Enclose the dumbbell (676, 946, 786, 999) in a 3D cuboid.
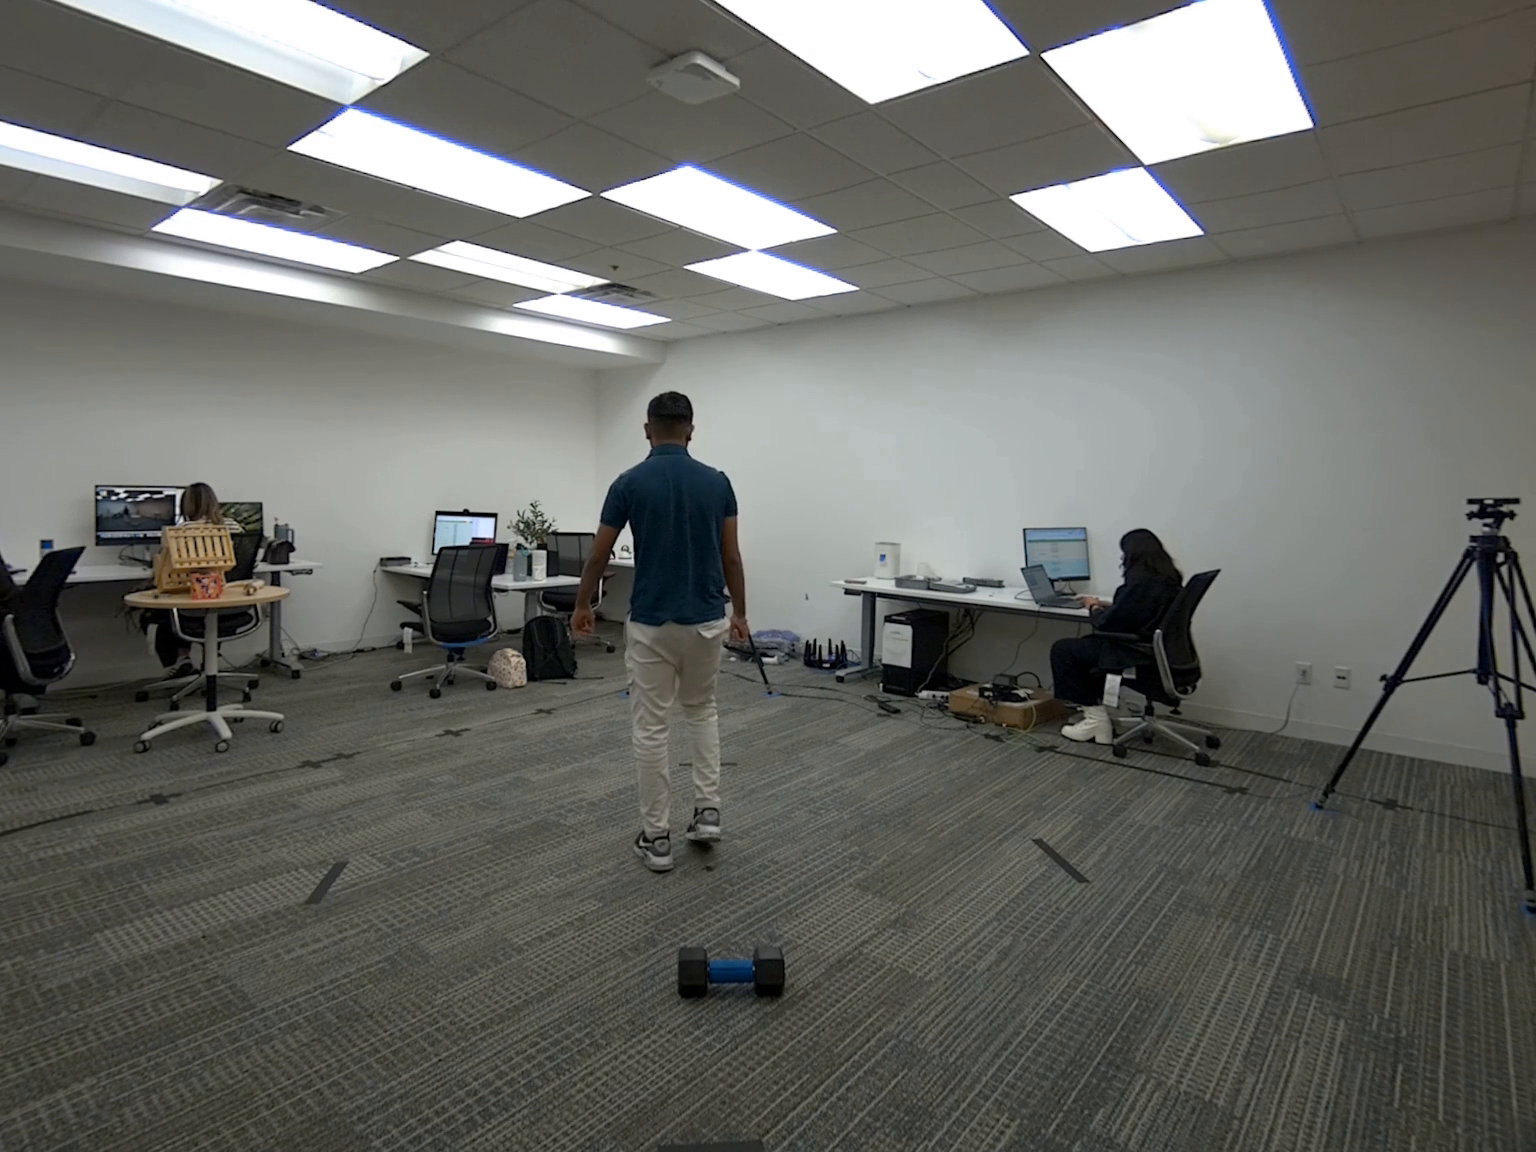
[{"bbox_3d":[-0.108,1.097,2.352,0.292,0.126,0.106,1,-27,-4],"label":"dumbbell"}]
